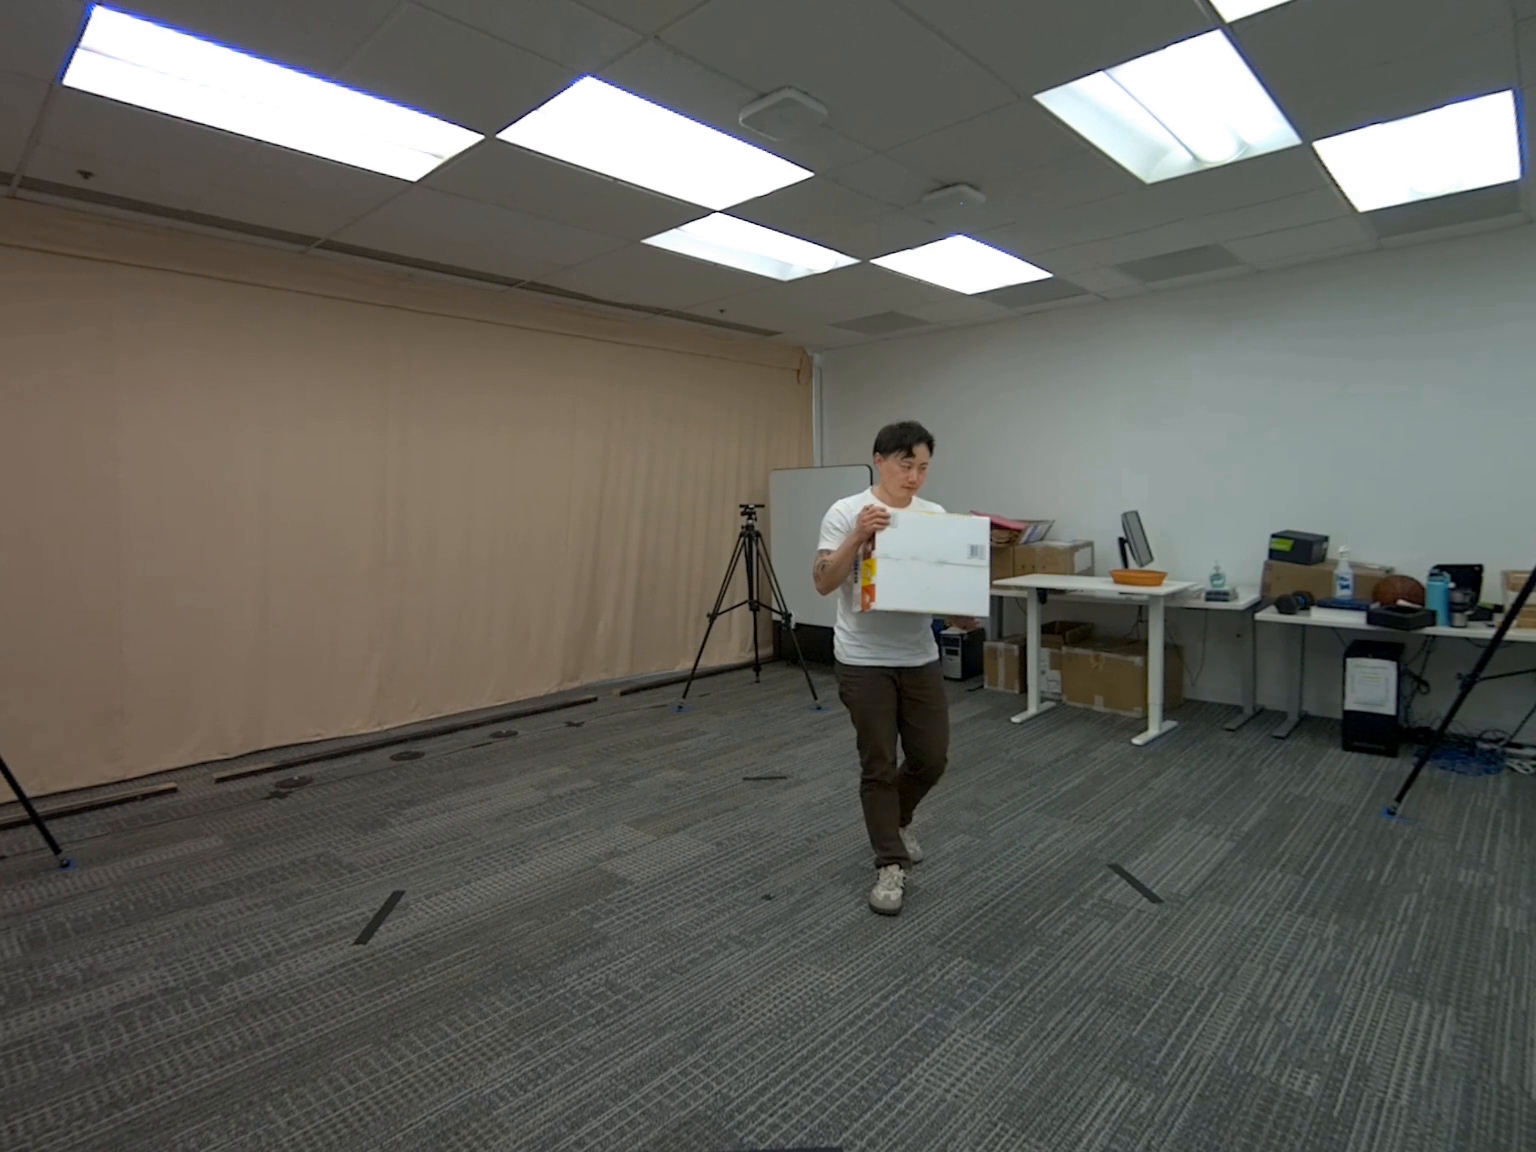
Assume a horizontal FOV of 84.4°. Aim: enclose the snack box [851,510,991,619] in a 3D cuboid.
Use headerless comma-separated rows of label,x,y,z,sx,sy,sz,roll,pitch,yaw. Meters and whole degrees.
snack box,0.512,-0.035,2.834,0.400,0.342,0.207,4,-8,-11
